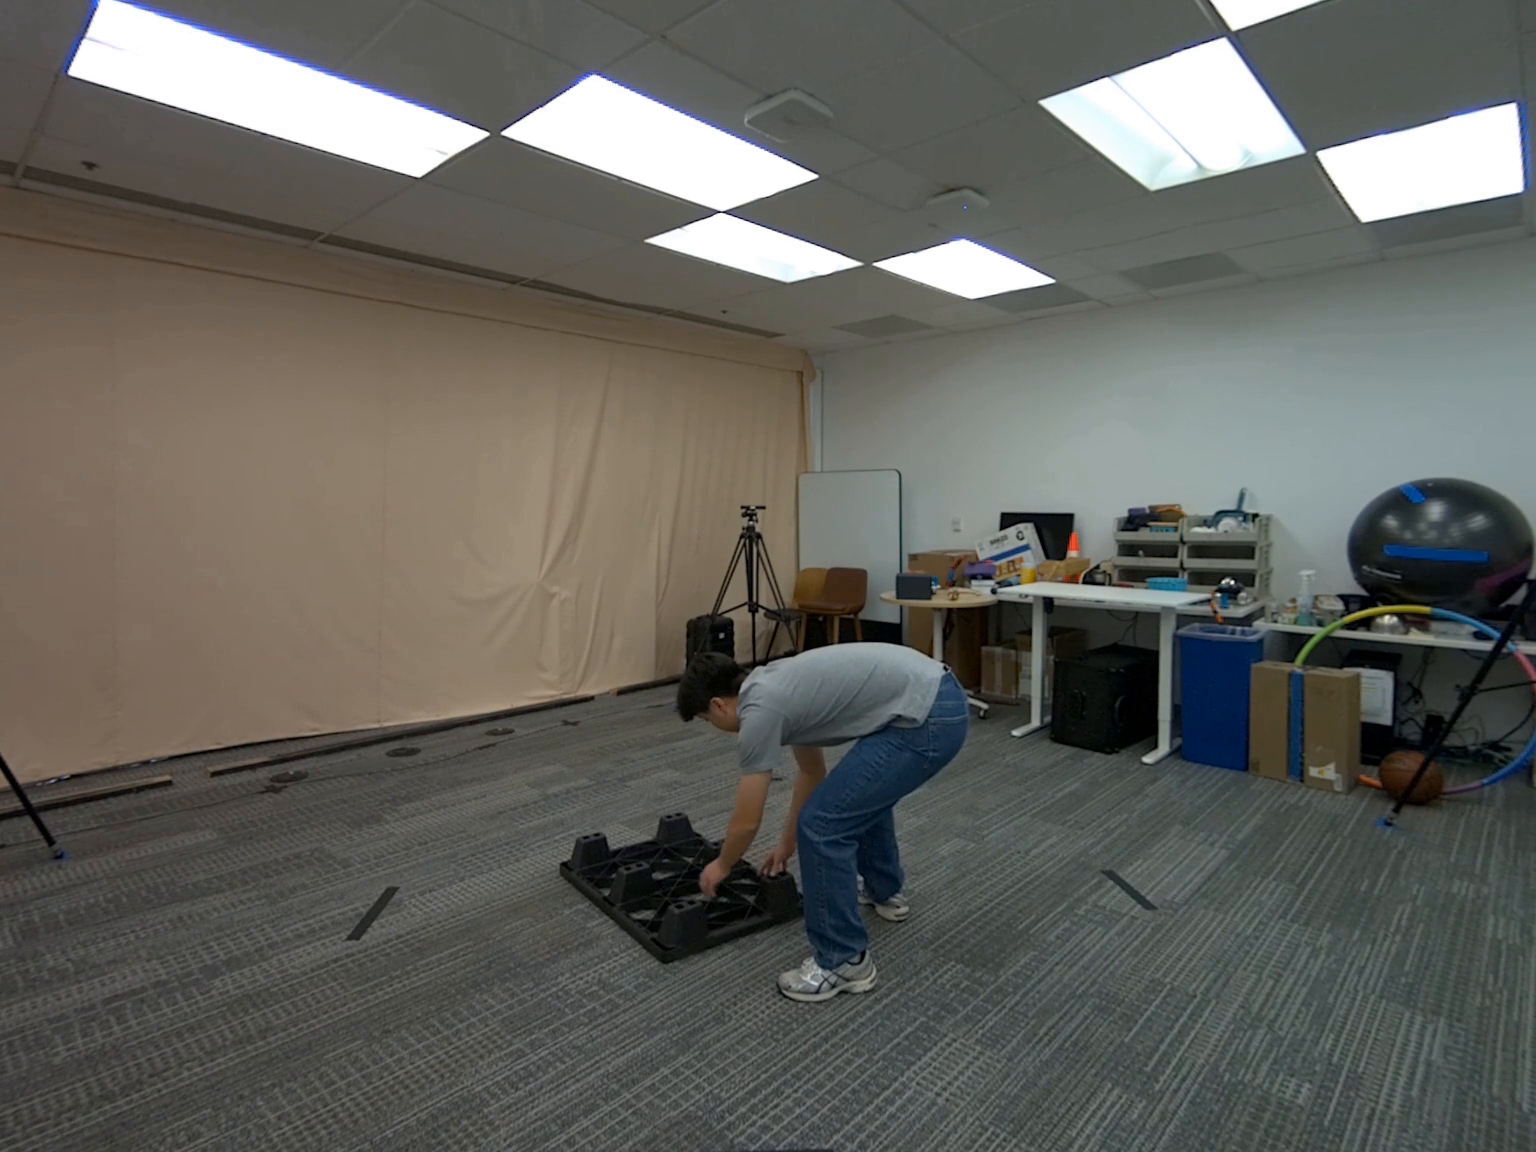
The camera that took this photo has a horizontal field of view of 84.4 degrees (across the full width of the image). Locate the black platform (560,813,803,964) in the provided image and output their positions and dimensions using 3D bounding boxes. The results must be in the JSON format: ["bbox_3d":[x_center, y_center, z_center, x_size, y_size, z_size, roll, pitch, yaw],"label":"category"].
[{"bbox_3d":[-0.325,1.076,3.040,0.587,0.143,0.831,-4,6,-36],"label":"black platform"}]
